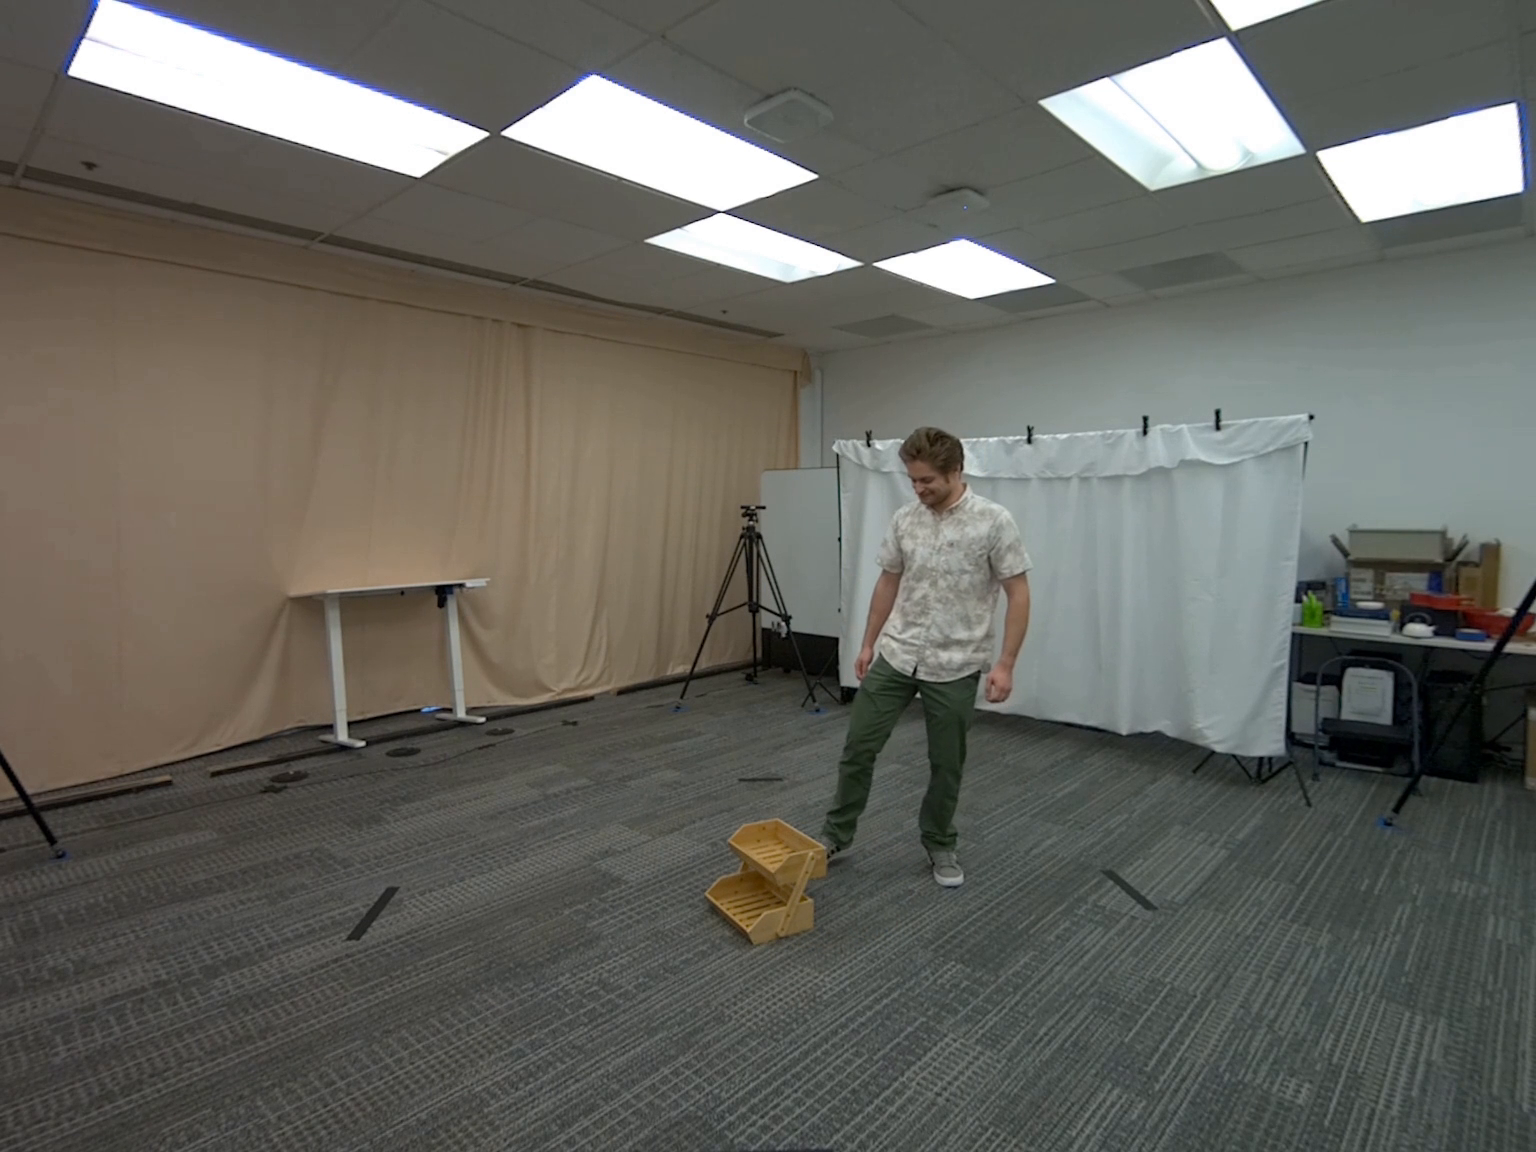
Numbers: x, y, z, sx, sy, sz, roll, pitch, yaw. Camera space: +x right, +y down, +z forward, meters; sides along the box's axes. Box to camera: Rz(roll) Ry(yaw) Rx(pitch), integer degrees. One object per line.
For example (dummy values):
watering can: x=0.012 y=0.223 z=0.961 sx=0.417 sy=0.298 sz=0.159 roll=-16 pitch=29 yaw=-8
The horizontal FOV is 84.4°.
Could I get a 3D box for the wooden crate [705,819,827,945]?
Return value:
wooden crate: x=-0.013 y=1.023 z=2.852 sx=0.294 sy=0.273 sz=0.334 roll=-2 pitch=4 yaw=-31
